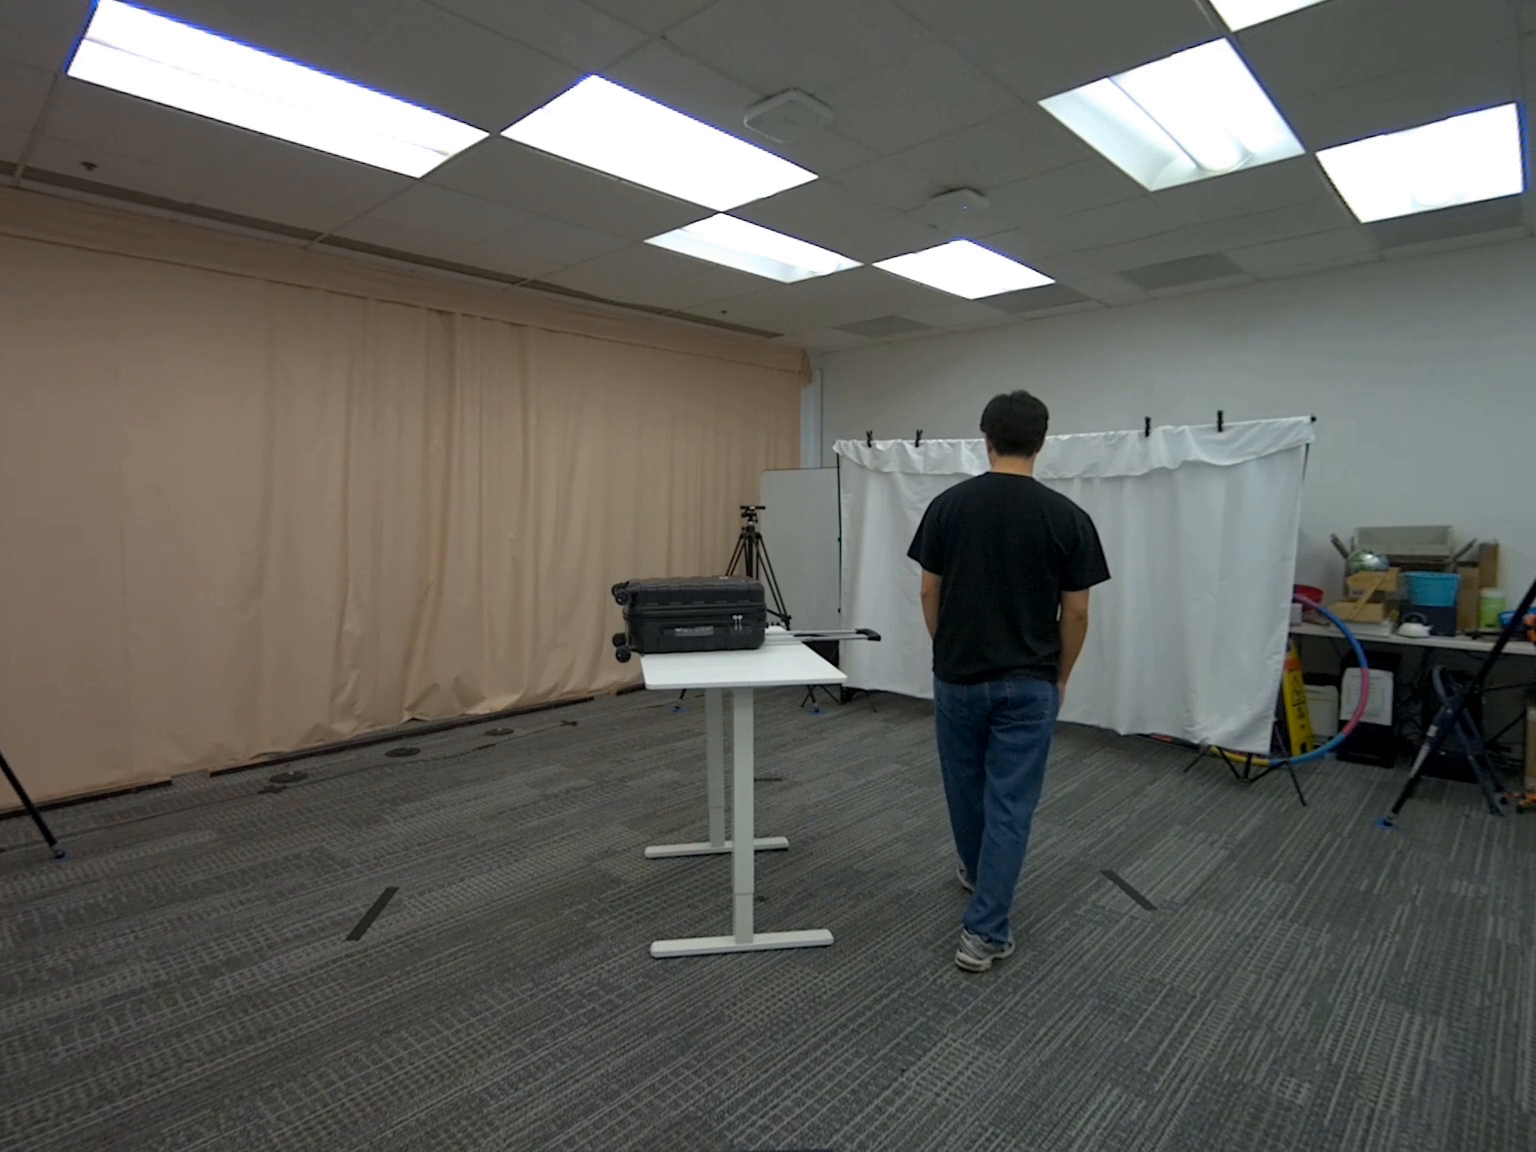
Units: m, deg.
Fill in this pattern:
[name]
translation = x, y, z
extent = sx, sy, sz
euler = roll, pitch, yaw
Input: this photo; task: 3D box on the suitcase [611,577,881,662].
[suitcase]
translation = -0.085, 0.126, 3.111
extent = 0.969, 0.256, 0.389
euler = -4, 4, -10
